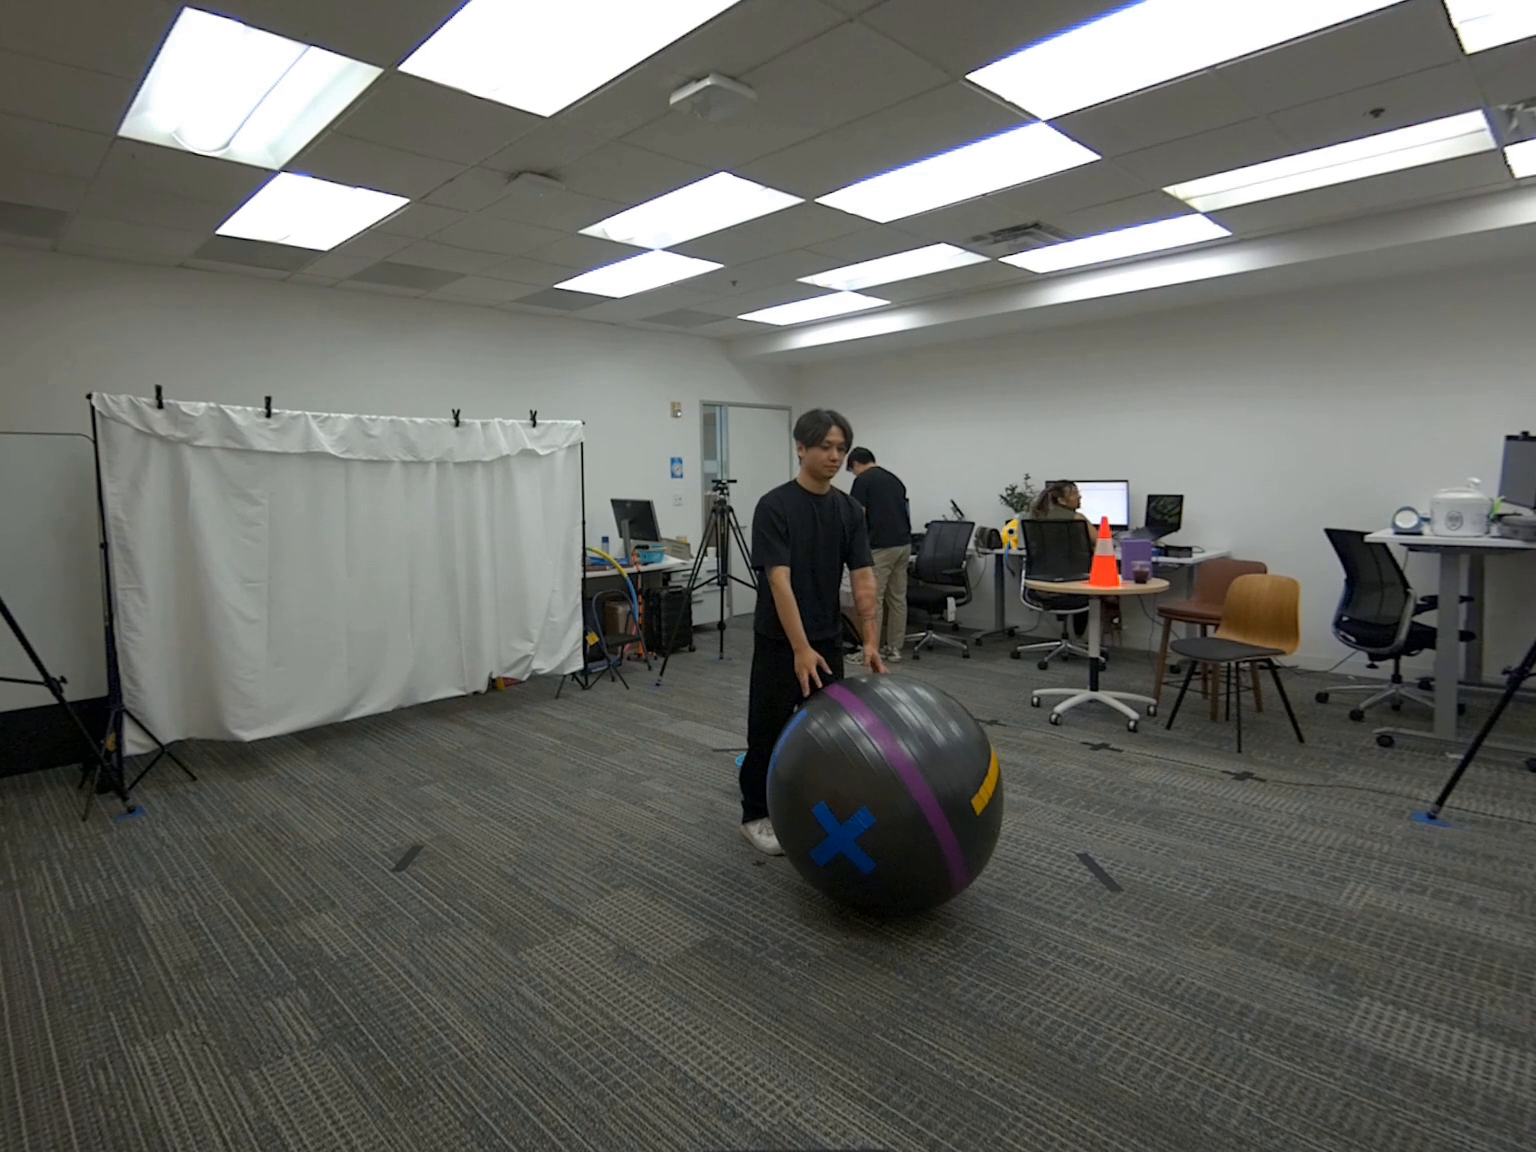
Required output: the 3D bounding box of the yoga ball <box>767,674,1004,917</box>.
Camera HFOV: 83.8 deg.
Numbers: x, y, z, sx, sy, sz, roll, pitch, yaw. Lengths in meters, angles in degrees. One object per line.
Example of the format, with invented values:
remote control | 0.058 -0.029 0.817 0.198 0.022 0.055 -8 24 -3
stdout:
yoga ball | 0.383 0.711 2.782 0.757 0.755 0.762 -1 5 -2
